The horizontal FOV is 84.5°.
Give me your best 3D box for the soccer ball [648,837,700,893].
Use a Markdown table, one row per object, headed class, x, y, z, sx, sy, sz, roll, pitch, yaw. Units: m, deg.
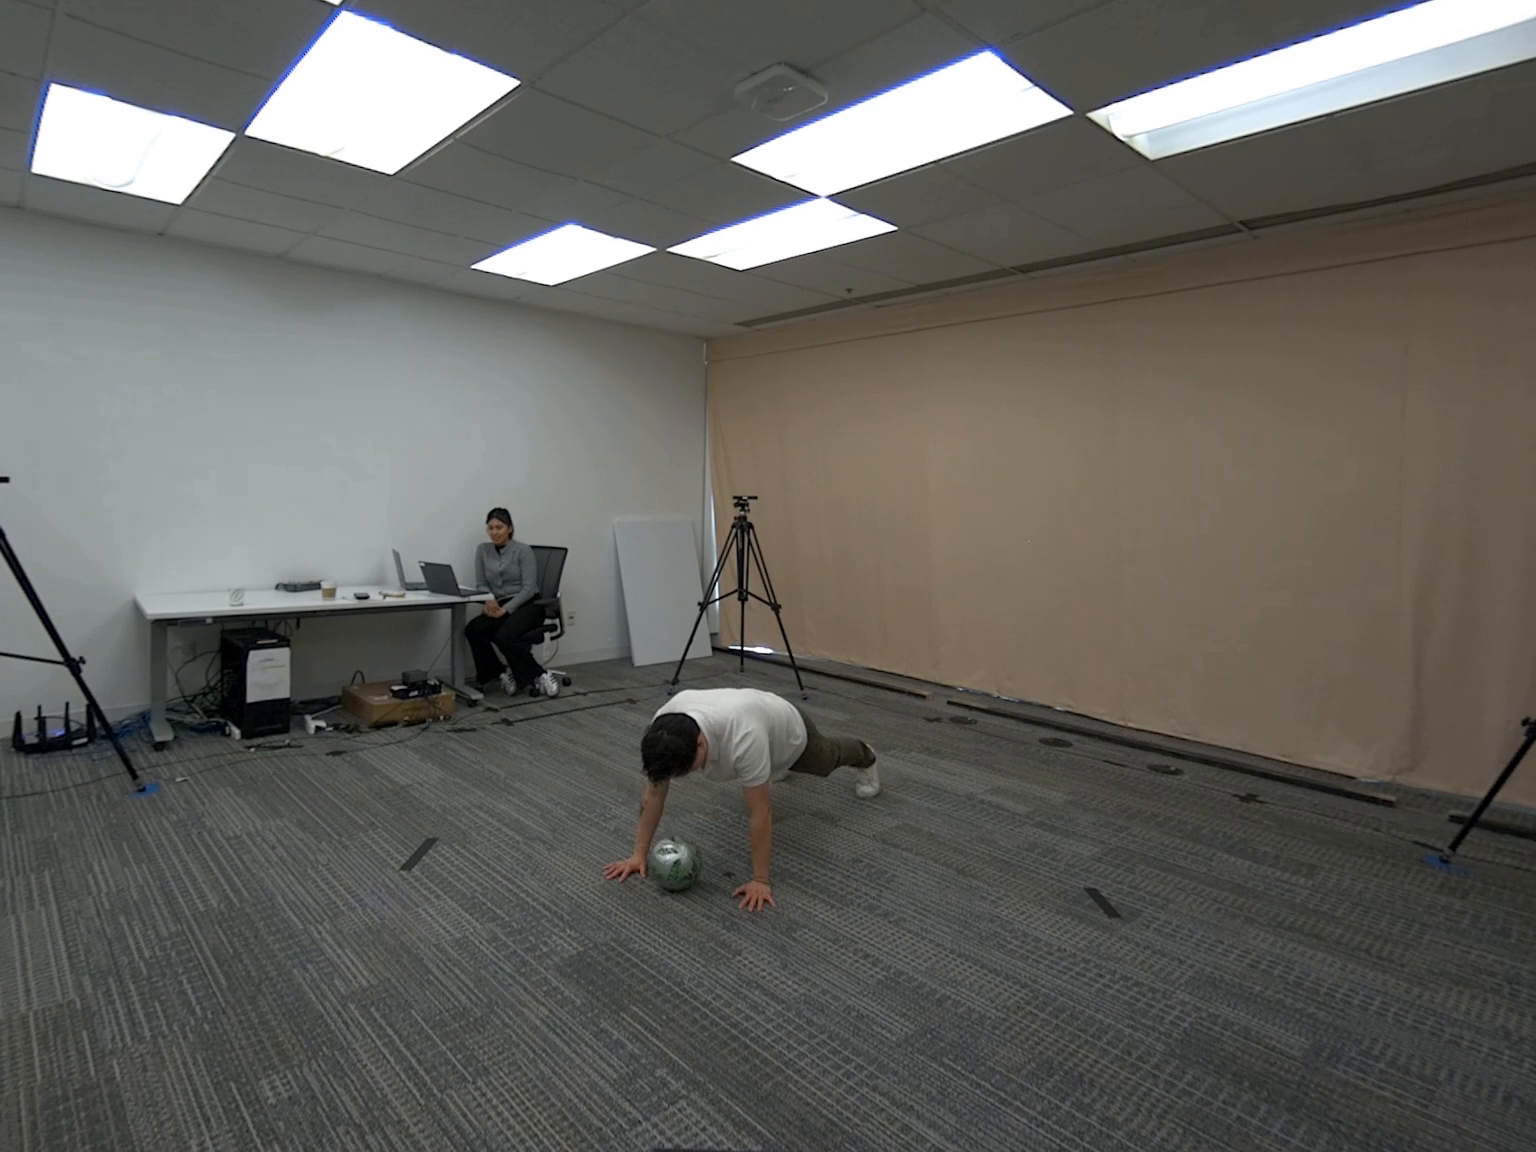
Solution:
| class | x | y | z | sx | sy | sz | roll | pitch | yaw |
| --- | --- | --- | --- | --- | --- | --- | --- | --- | --- |
| soccer ball | -0.339 | 1.014 | 2.979 | 0.187 | 0.187 | 0.188 | 1 | 4 | -1 |
